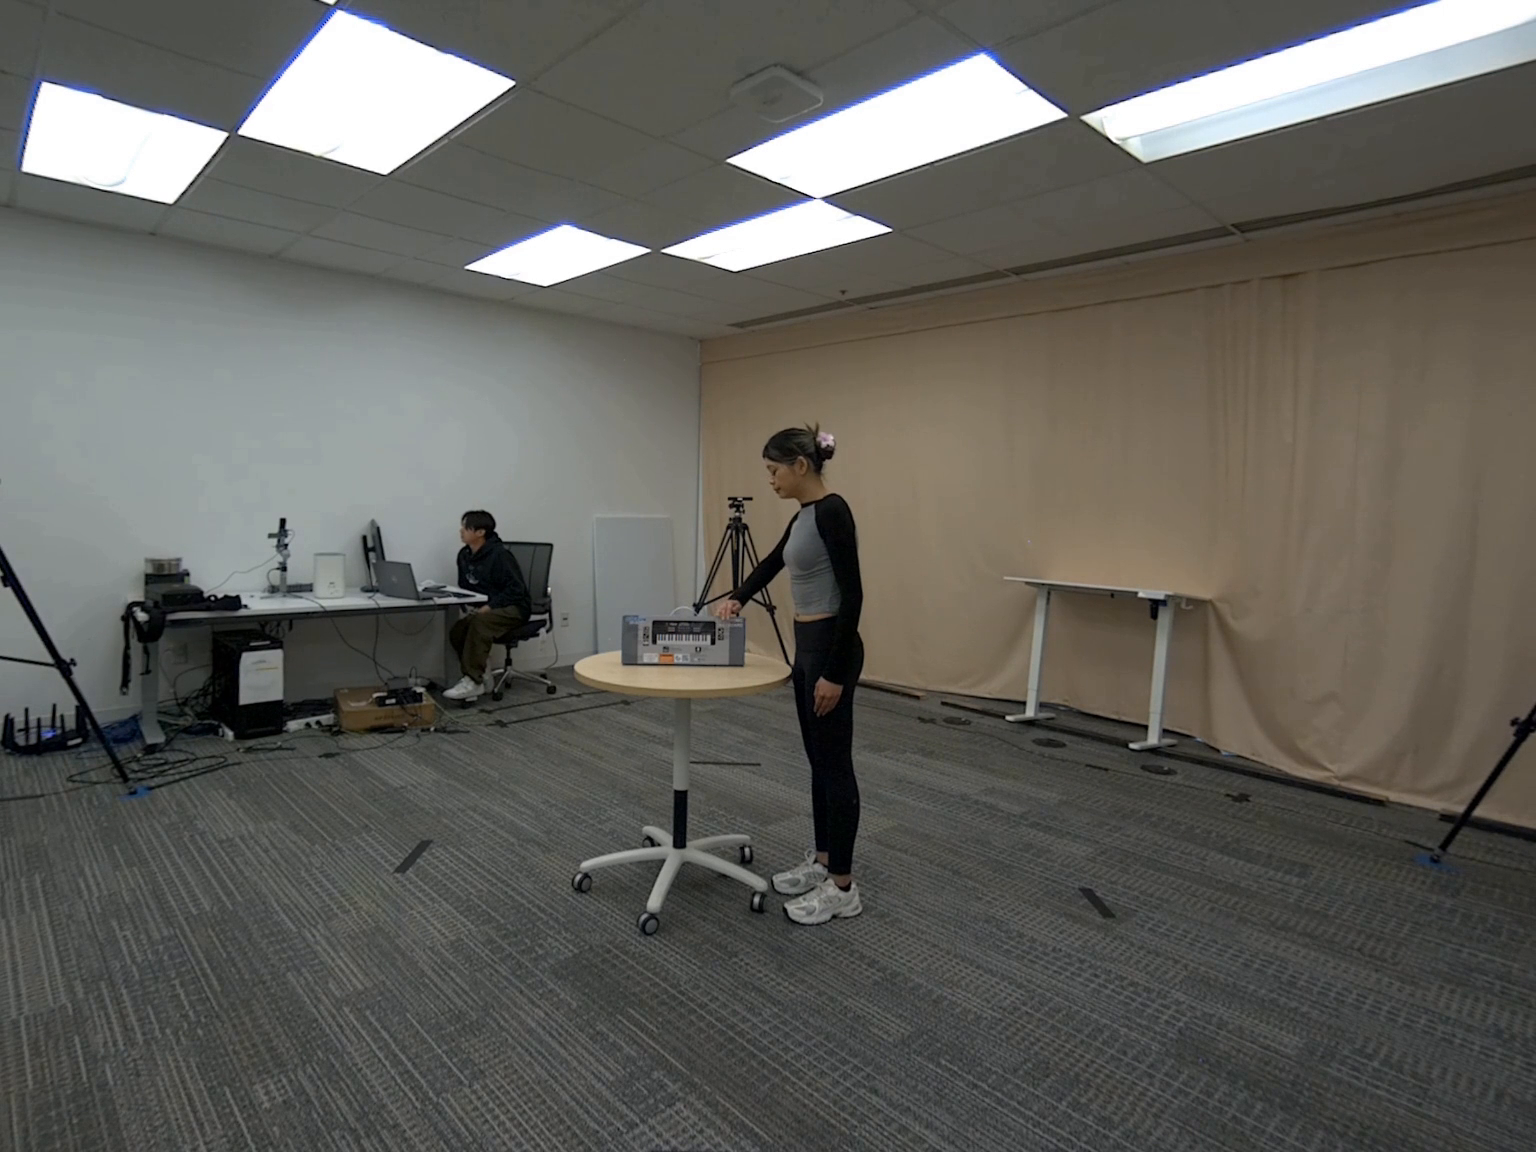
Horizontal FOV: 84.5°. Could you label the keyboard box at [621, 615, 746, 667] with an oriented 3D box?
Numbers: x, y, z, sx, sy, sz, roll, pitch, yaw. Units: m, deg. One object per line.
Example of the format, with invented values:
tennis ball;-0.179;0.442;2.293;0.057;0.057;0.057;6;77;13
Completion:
keyboard box;-0.306;0.233;3.014;0.435;0.176;0.059;1;-1;-4
